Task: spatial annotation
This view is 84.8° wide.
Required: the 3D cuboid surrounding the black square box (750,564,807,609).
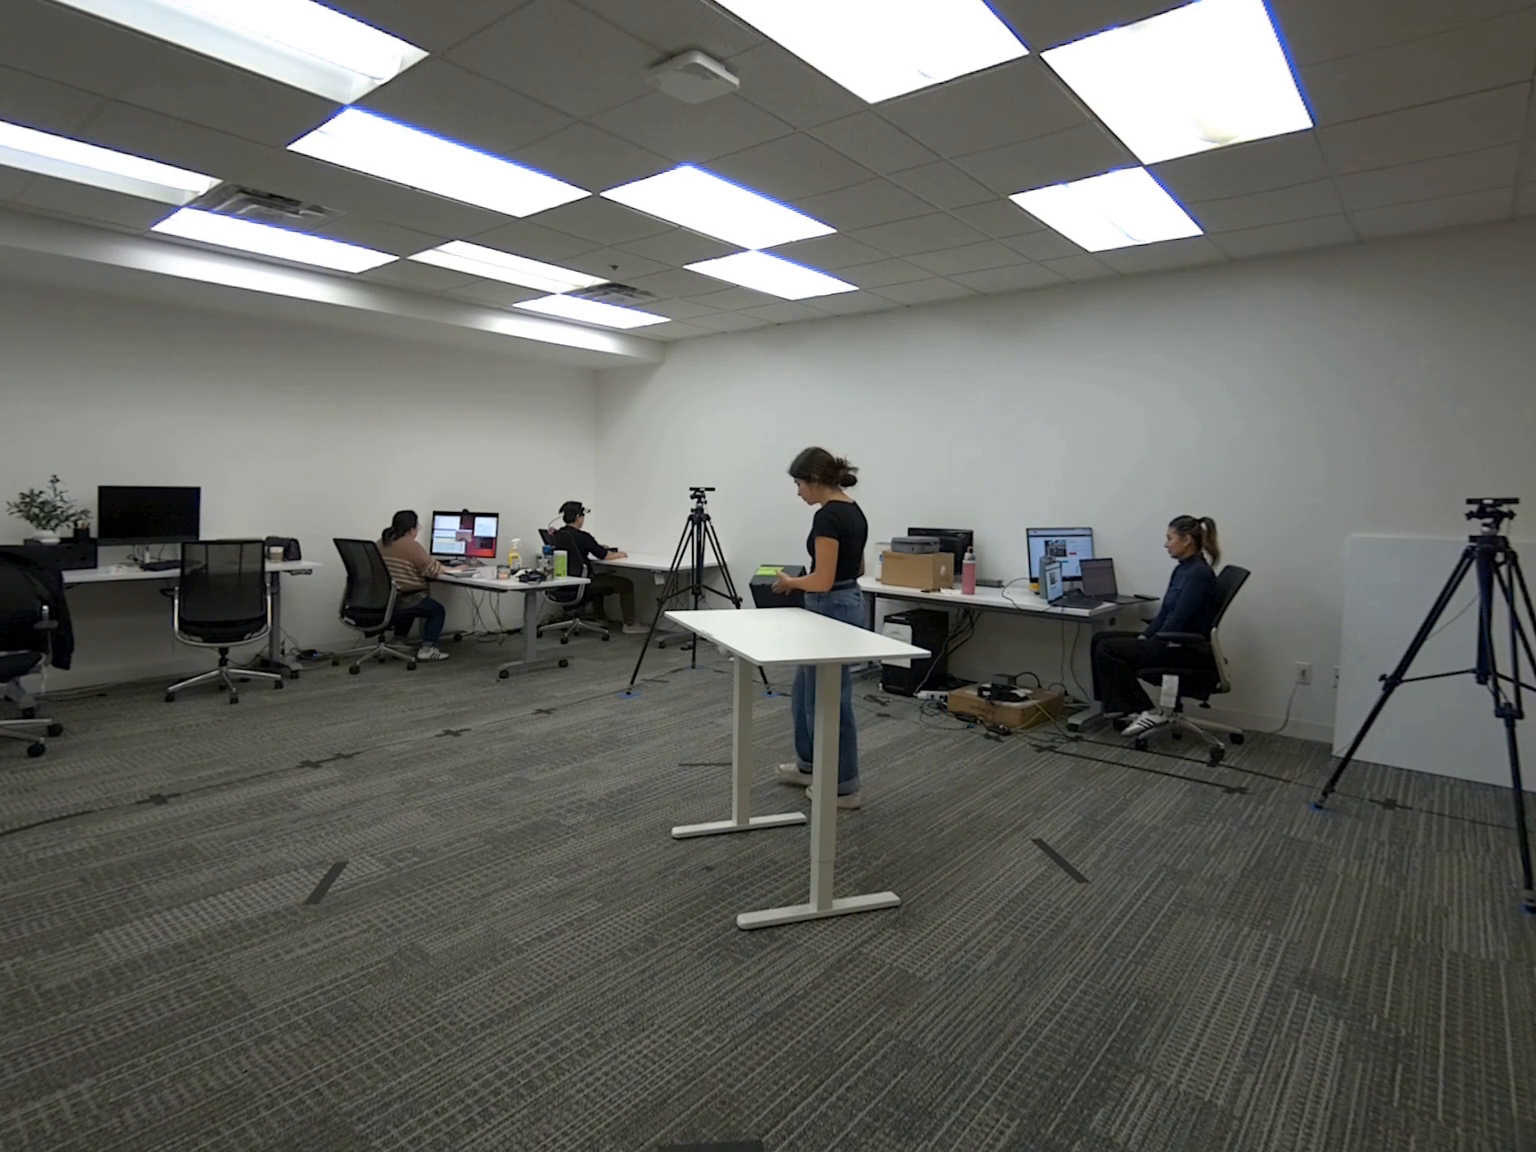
[{"bbox_3d":[0.054,0.074,3.950,0.234,0.210,0.156,2,35,28],"label":"black square box"}]
